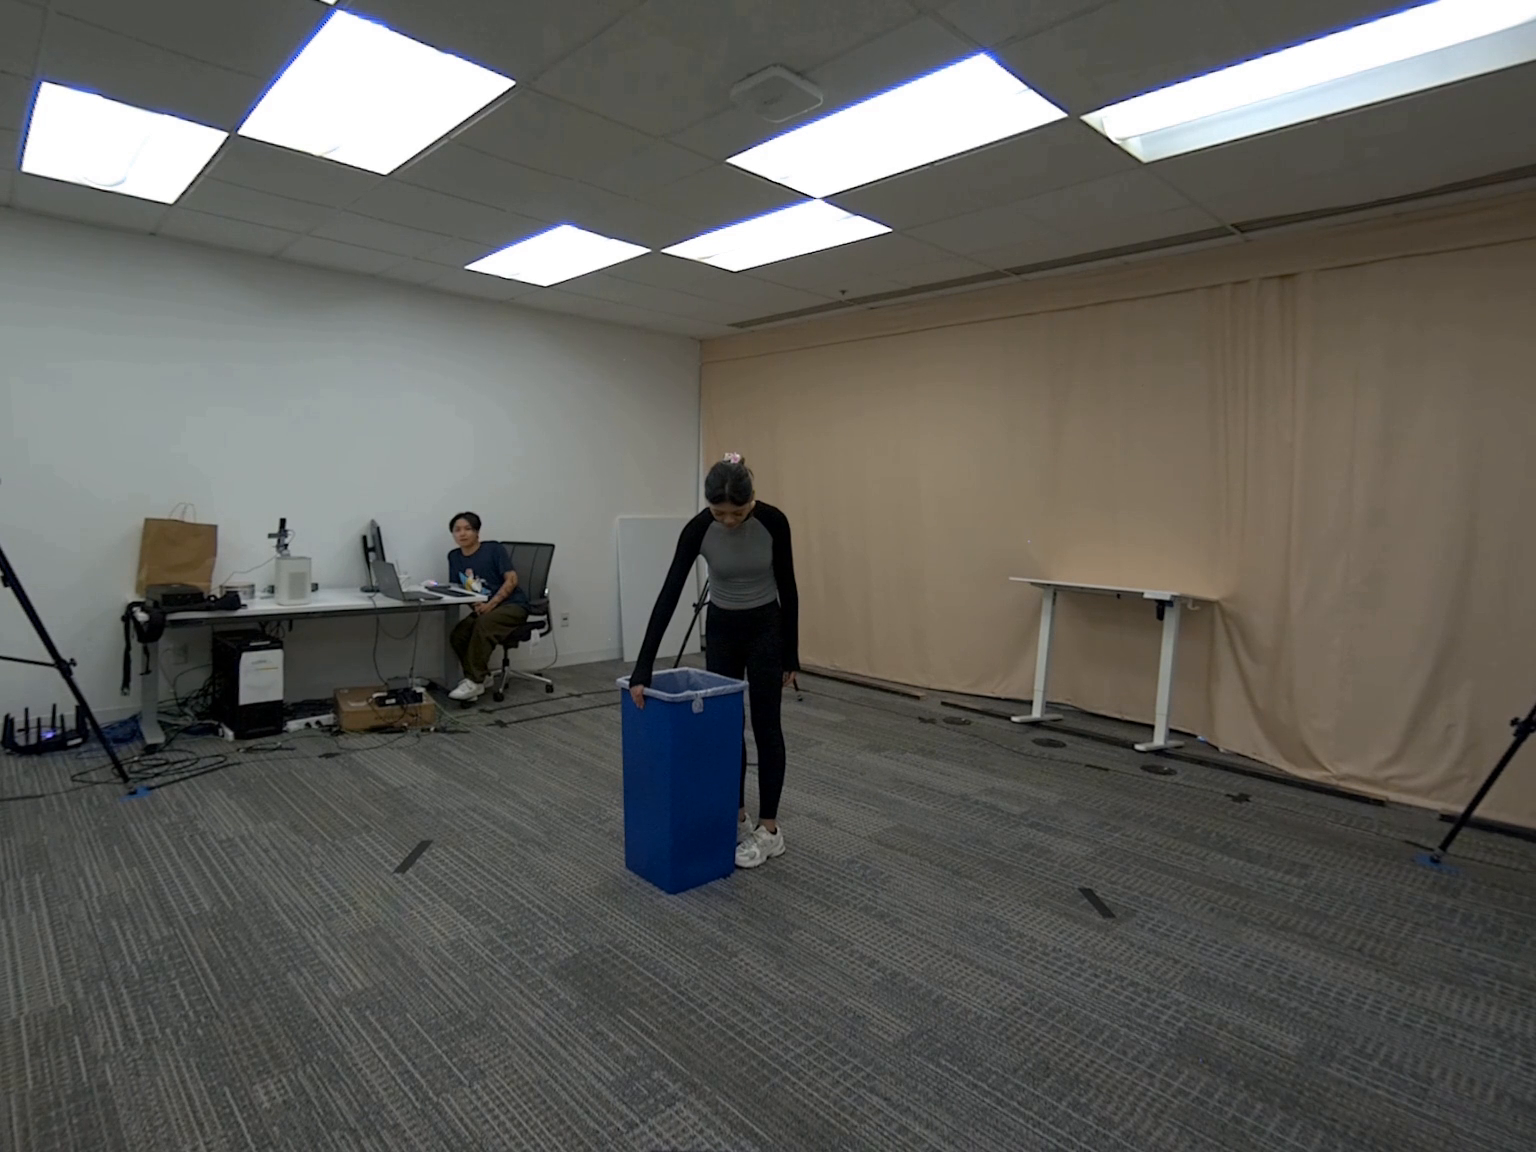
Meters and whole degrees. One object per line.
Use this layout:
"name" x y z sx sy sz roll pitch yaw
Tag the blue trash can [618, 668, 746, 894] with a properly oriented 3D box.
"blue trash can" -0.338 0.744 3.134 0.369 0.712 0.384 -2 5 -43
